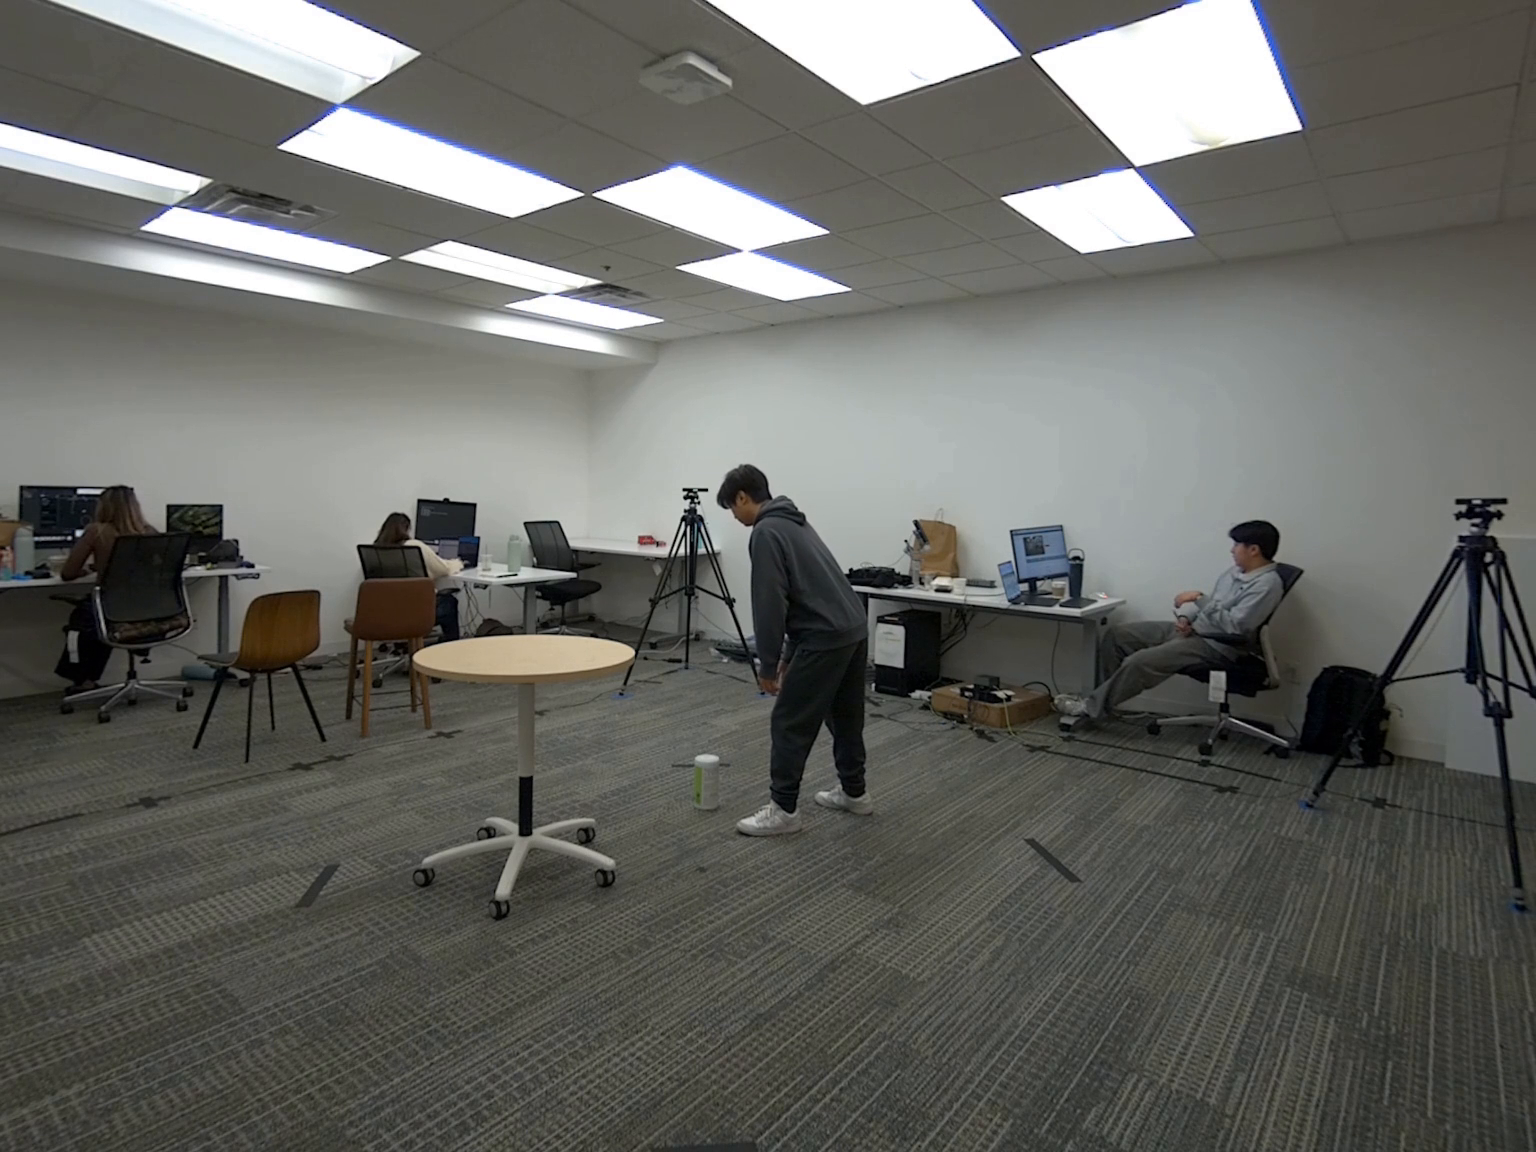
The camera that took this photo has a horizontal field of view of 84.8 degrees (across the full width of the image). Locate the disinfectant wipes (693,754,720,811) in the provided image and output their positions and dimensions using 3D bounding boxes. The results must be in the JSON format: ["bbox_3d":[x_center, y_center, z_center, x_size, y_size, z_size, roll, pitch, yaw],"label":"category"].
[{"bbox_3d":[-0.277,0.901,3.740,0.118,0.217,0.118,0,2,-2],"label":"disinfectant wipes"}]
